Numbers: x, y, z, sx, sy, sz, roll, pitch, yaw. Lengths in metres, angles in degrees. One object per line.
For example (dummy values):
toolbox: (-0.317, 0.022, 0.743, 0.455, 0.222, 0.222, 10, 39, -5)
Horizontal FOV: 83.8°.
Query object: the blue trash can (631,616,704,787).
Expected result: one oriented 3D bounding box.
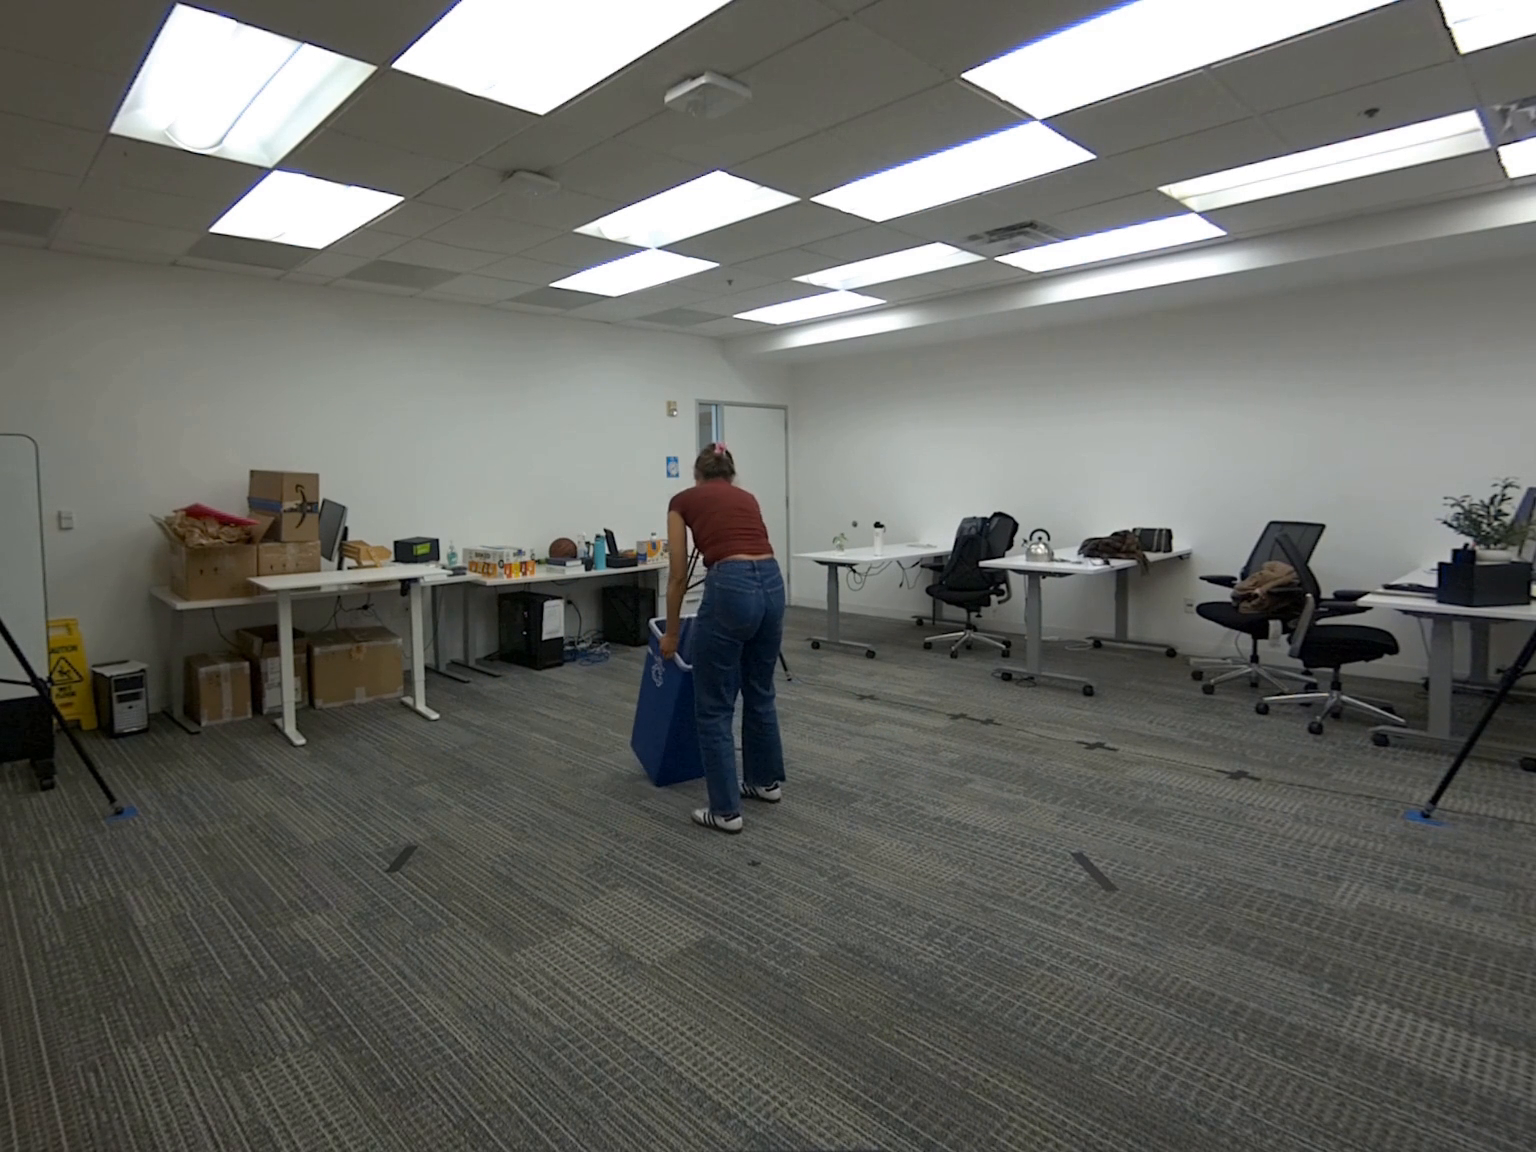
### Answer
blue trash can: (-0.378, 0.578, 3.925, 0.369, 0.703, 0.389, -5, 32, -34)
